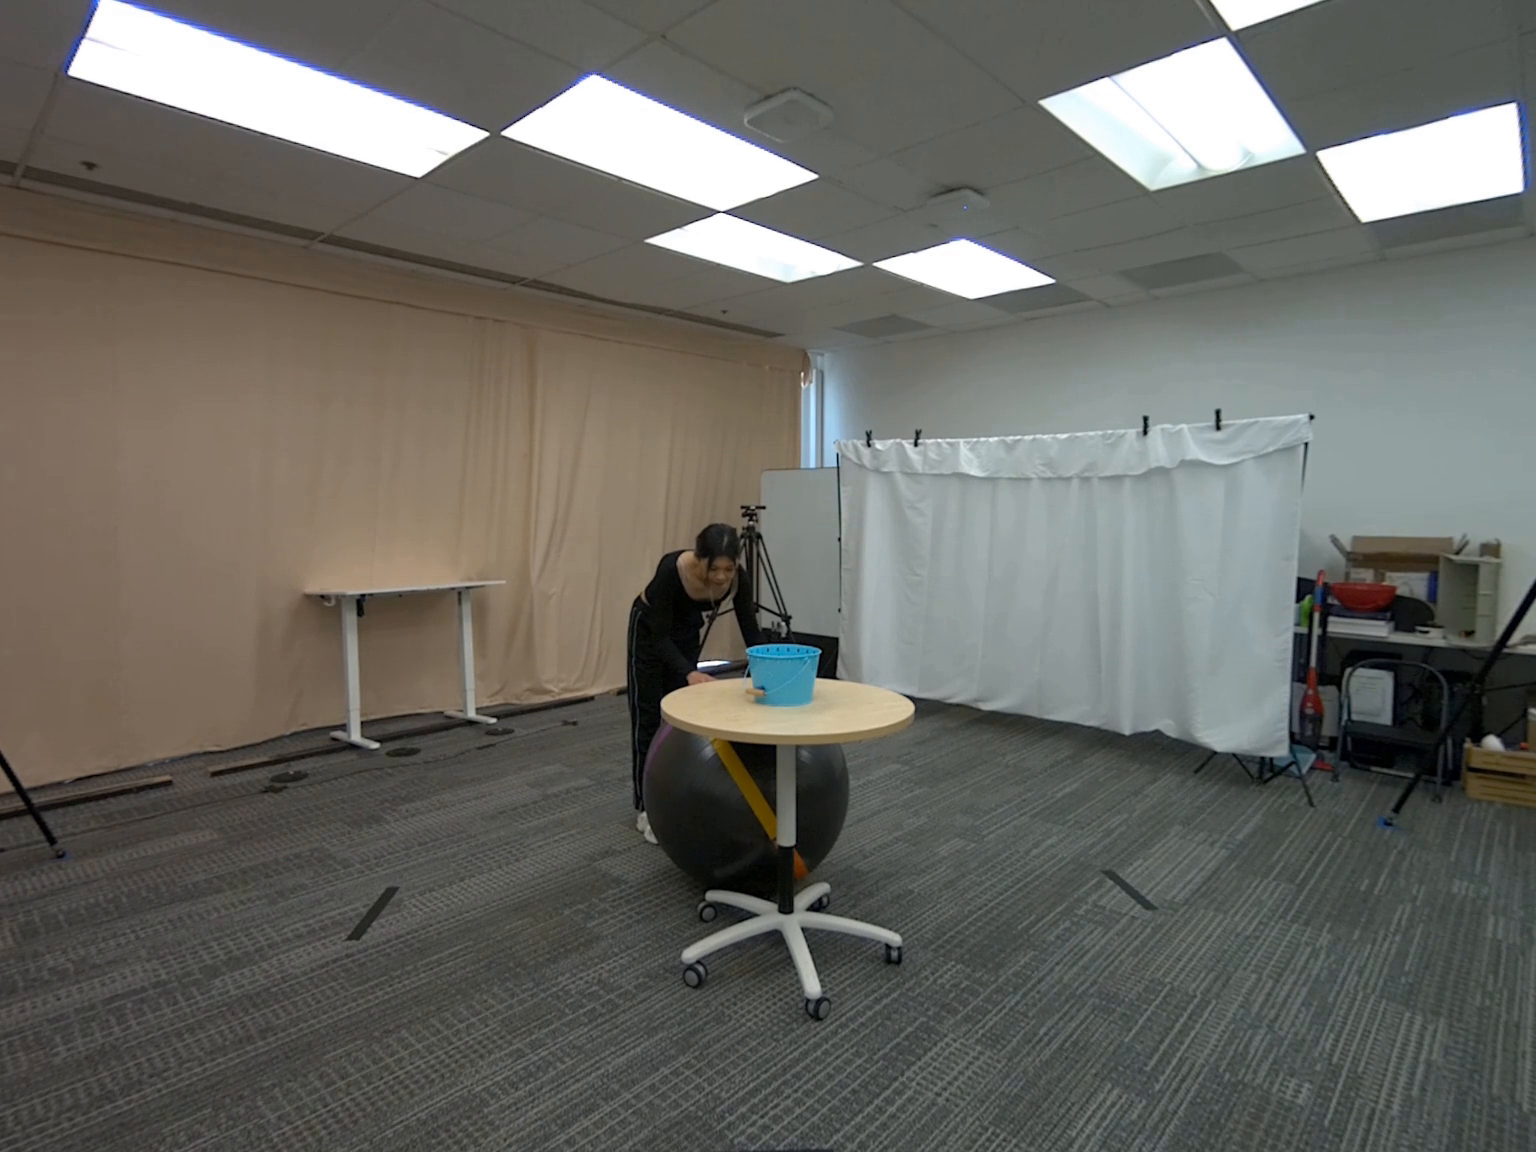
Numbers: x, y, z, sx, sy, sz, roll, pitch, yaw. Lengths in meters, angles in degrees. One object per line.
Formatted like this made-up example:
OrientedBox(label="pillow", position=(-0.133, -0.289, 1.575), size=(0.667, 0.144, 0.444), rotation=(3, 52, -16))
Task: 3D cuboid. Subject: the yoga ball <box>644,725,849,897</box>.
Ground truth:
OrientedBox(label="yoga ball", position=(-0.081, 0.773, 3.118), size=(0.757, 0.756, 0.760), rotation=(0, 4, -2))
